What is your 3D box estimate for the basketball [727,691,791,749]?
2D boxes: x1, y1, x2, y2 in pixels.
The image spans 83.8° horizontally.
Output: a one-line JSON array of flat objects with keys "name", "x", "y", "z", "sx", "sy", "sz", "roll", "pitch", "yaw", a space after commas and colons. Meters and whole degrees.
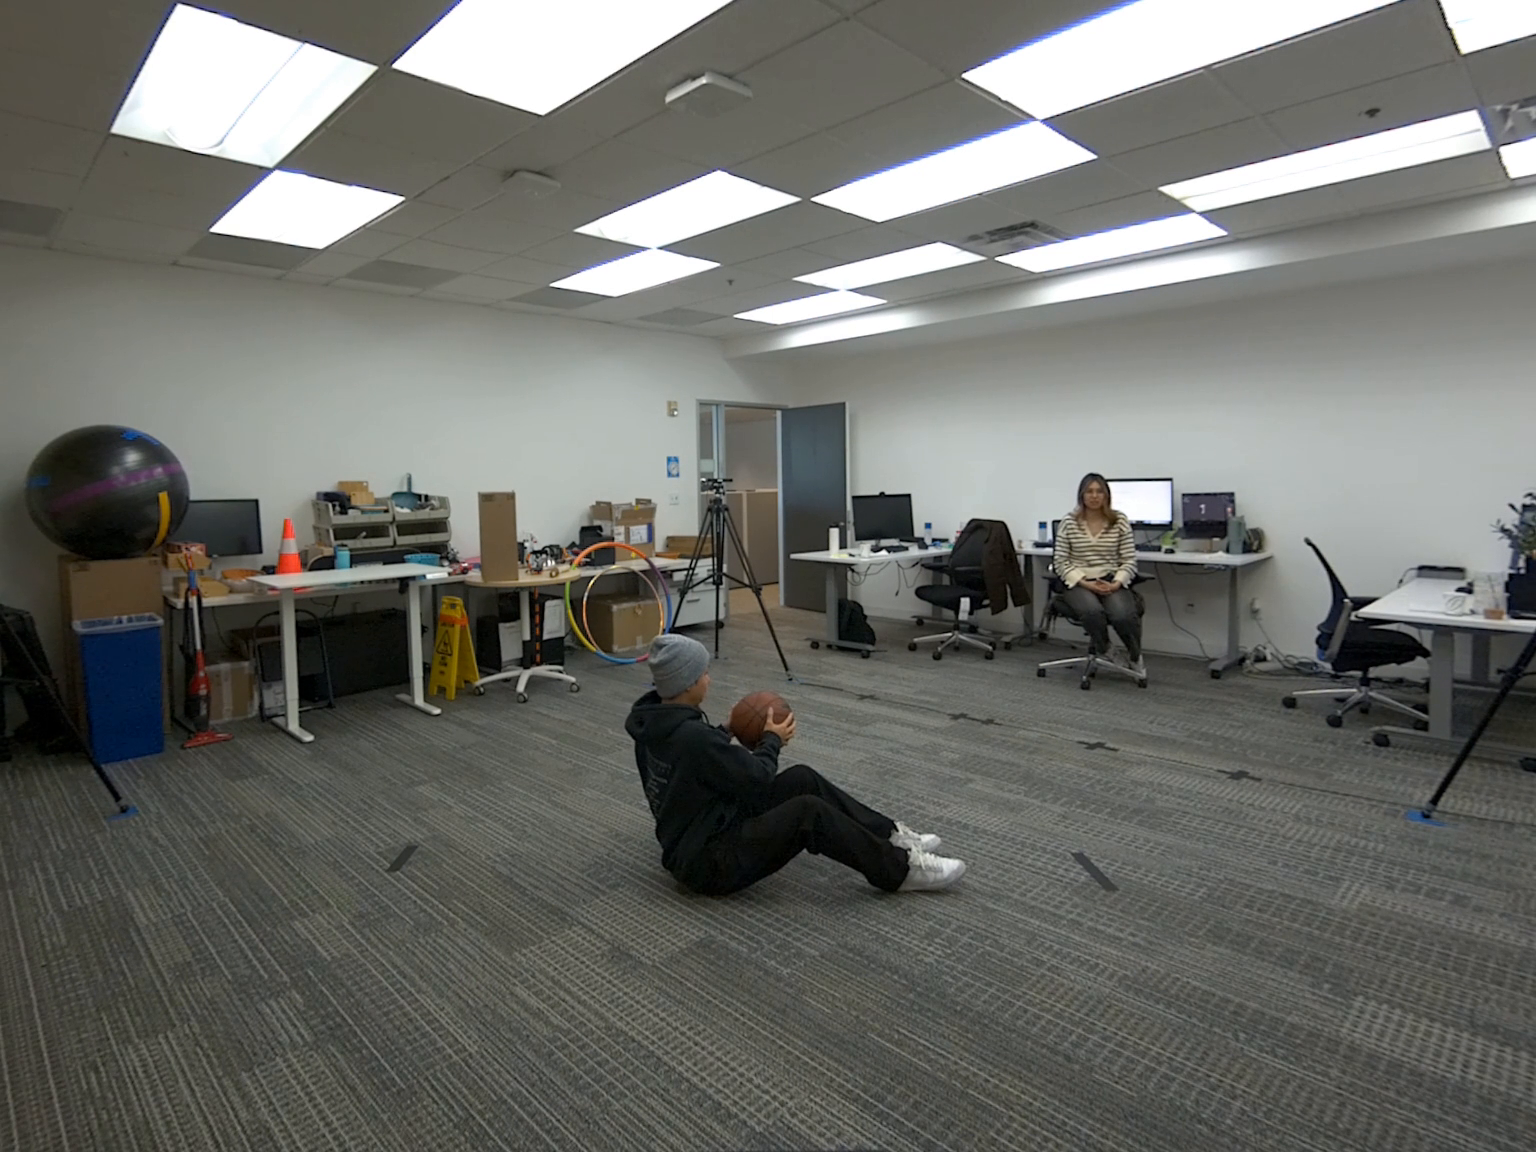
[{"name": "basketball", "x": -0.014, "y": 0.561, "z": 3.285, "sx": 0.236, "sy": 0.235, "sz": 0.237, "roll": -1, "pitch": 5, "yaw": -2}]
